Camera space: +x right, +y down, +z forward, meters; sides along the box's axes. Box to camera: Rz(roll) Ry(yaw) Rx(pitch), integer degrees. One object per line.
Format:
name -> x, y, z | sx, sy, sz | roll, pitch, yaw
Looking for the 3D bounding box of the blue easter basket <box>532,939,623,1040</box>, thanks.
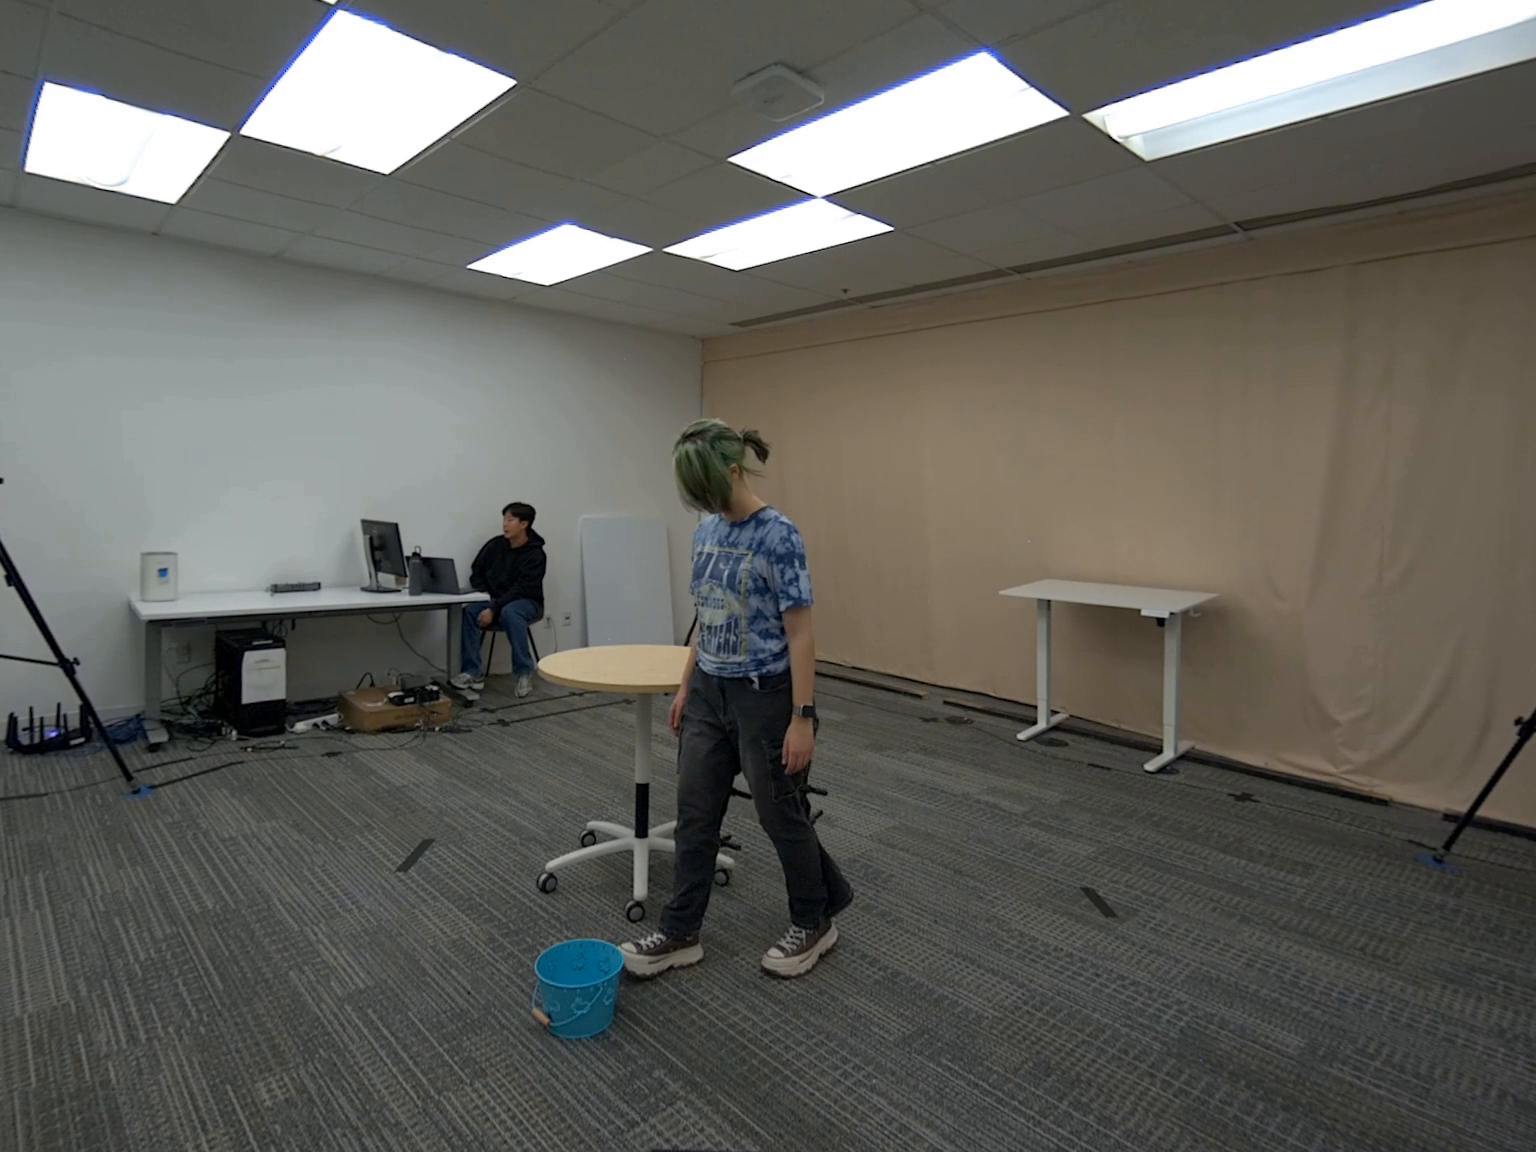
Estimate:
blue easter basket -> -0.513, 1.101, 2.230 | 0.243, 0.155, 0.244 | 2, 4, -1
